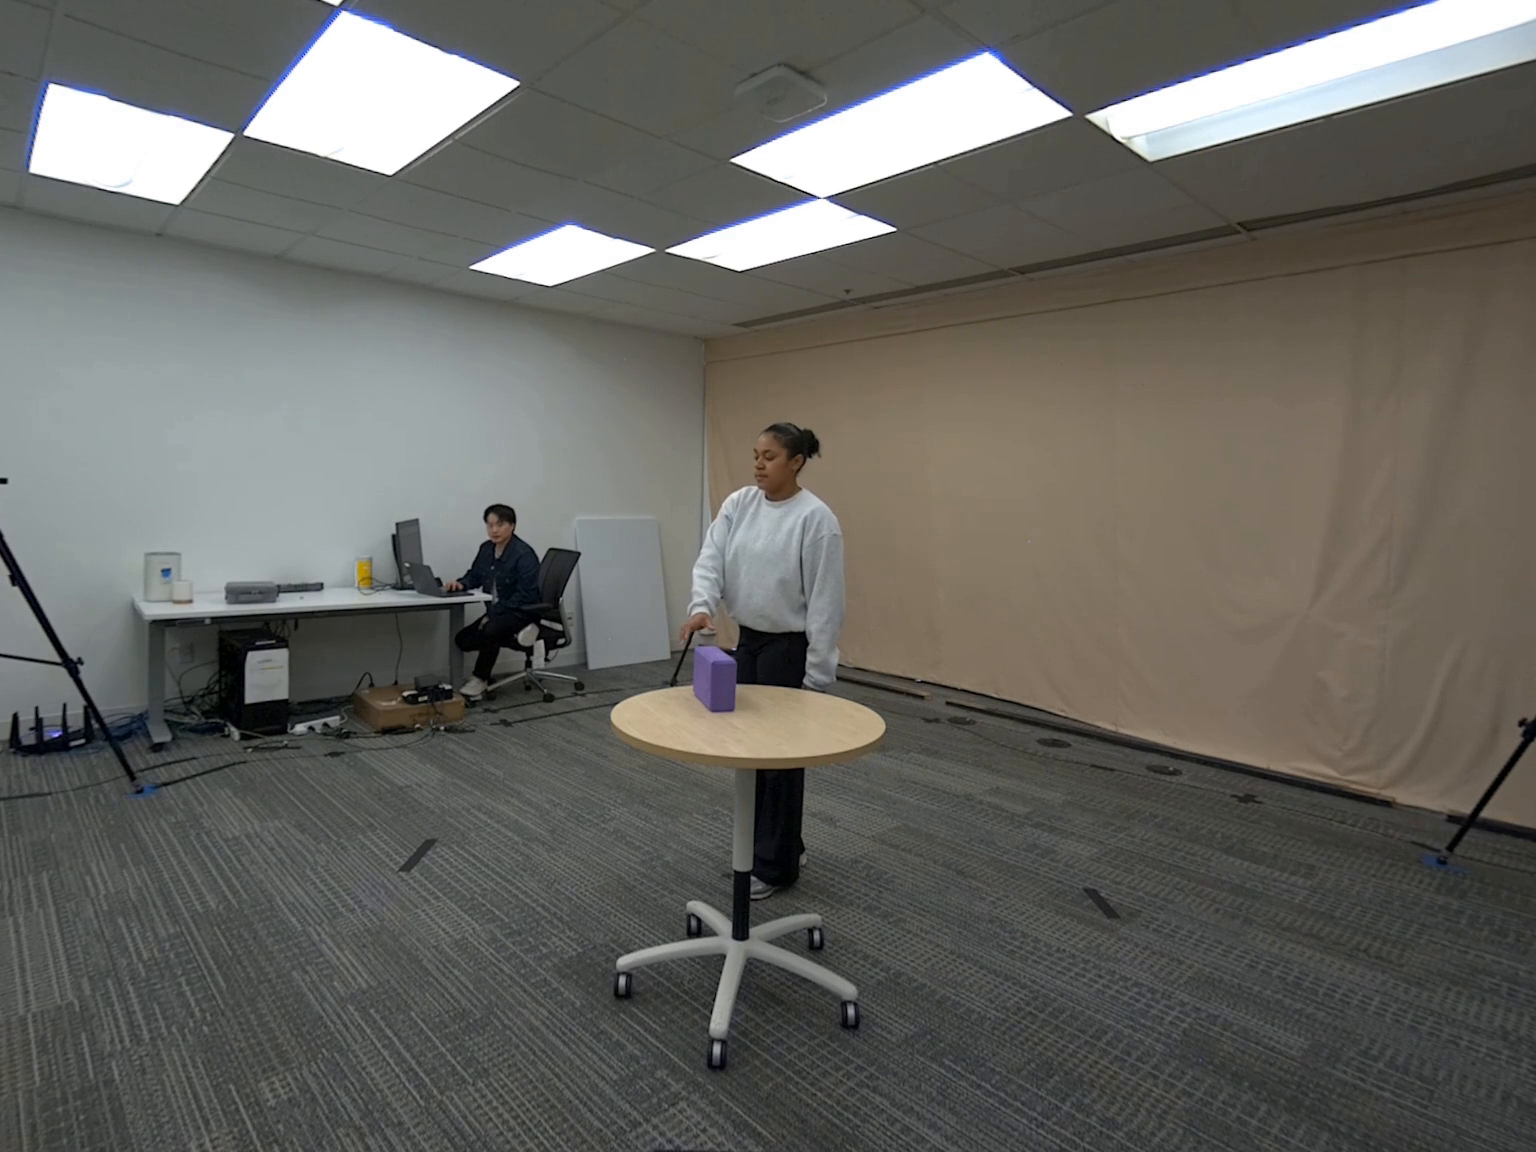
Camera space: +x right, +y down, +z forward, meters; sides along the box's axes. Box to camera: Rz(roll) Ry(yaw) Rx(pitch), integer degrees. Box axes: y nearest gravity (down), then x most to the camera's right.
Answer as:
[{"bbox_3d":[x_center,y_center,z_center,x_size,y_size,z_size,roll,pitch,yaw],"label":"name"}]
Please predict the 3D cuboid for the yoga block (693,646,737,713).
[{"bbox_3d":[-0.169,0.306,2.492,0.076,0.148,0.232,0,6,-13],"label":"yoga block"}]
